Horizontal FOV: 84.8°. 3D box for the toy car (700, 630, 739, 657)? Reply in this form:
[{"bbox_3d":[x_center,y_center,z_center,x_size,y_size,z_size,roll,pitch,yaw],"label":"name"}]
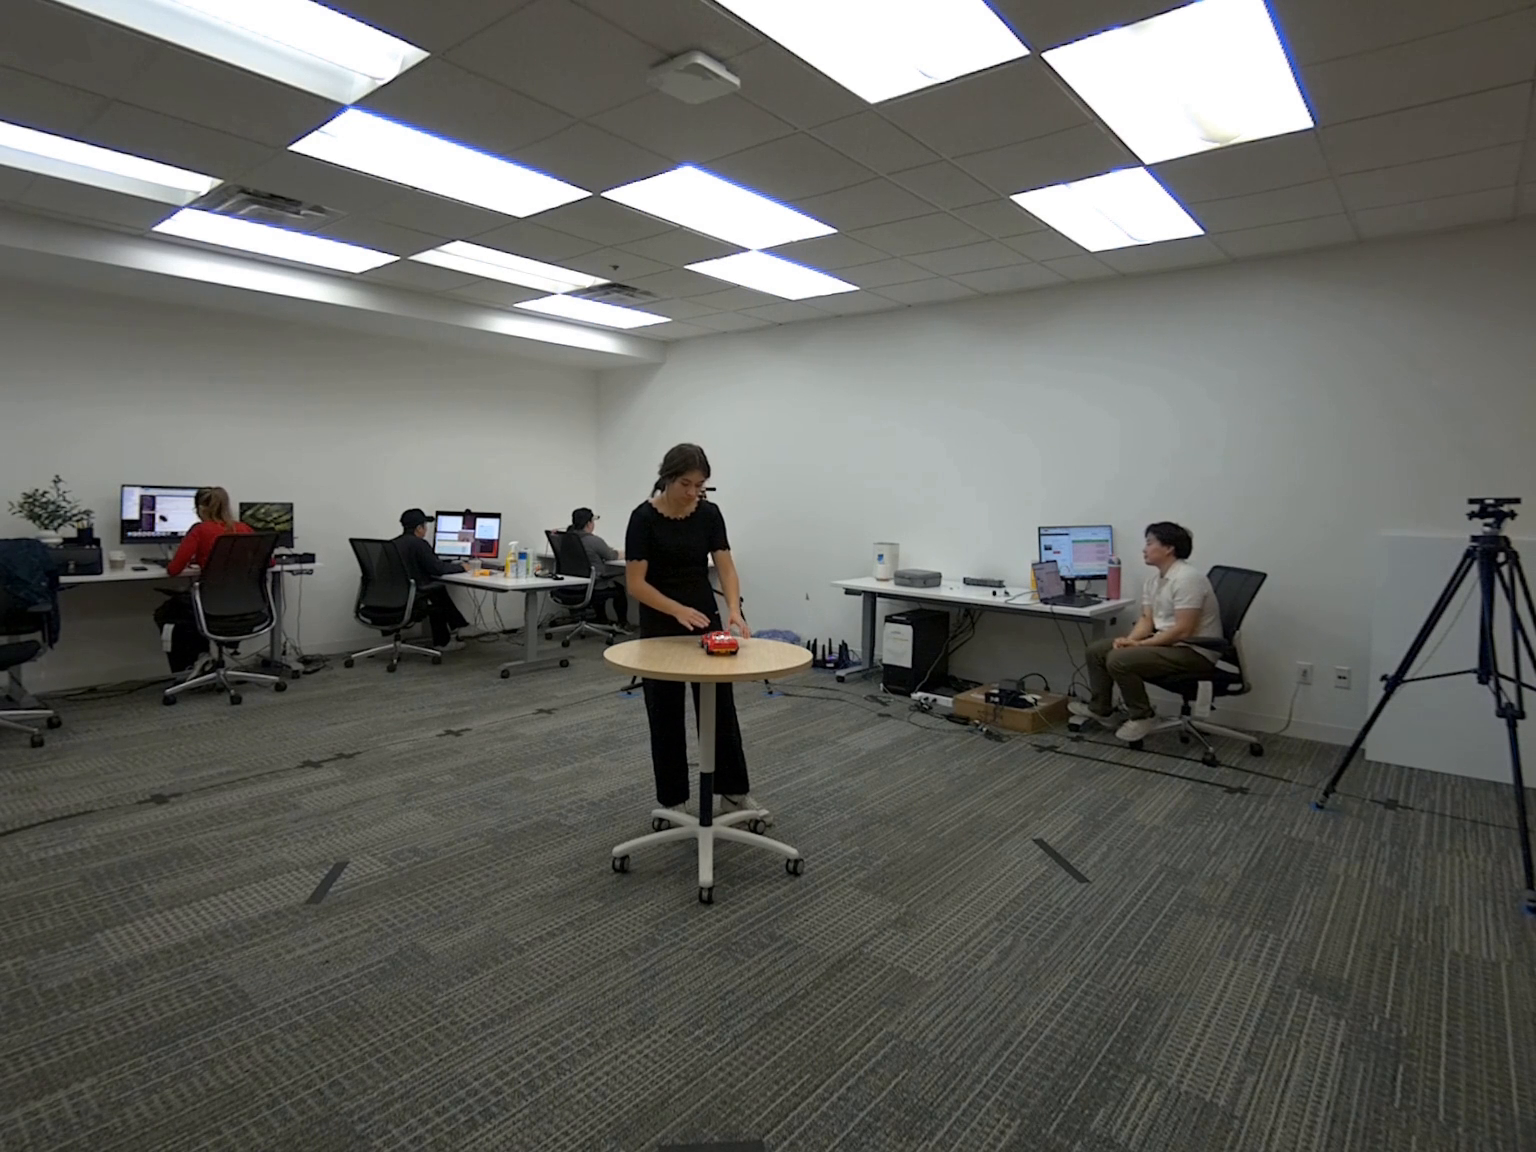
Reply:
[{"bbox_3d":[-0.192,0.249,3.141,0.129,0.084,0.255,0,-7,-12],"label":"toy car"}]
